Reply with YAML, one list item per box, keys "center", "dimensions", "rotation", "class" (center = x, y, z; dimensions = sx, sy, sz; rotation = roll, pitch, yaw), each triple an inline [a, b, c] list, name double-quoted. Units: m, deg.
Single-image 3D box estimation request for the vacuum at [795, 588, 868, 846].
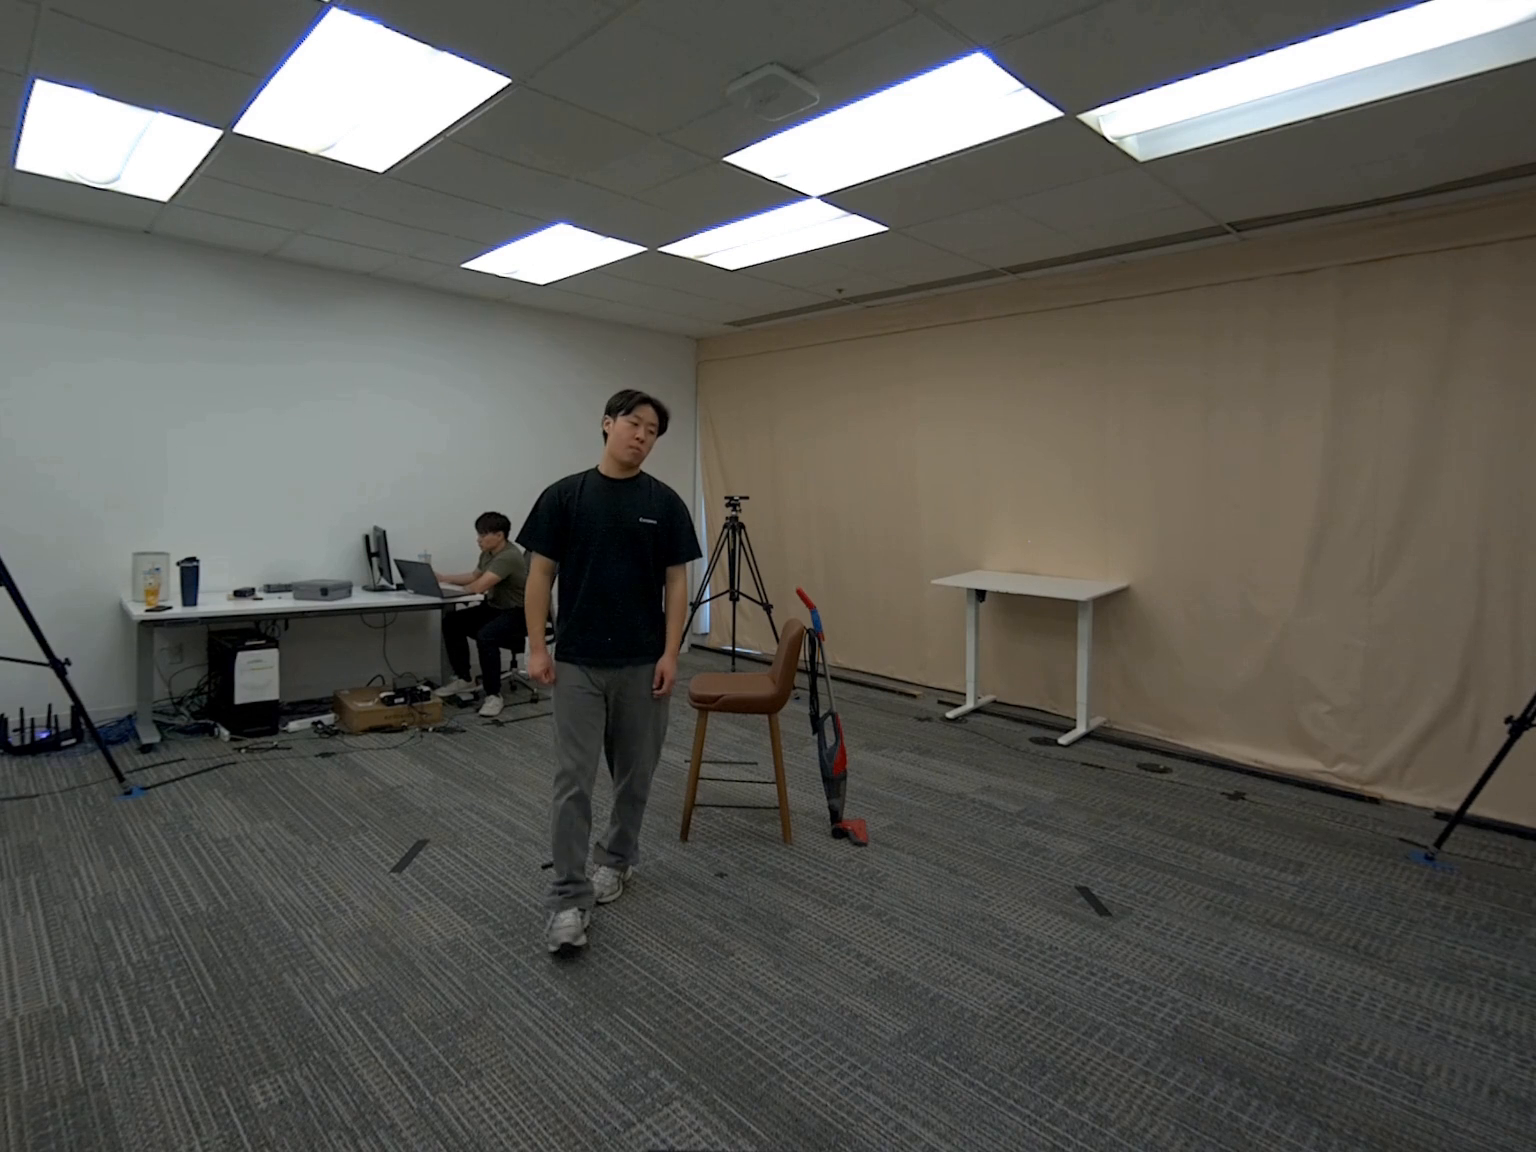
- center: [0.235, 0.566, 3.509]
  dimensions: [0.144, 1.048, 0.252]
  rotation: [-11, 1, 1]
  class: "vacuum"
